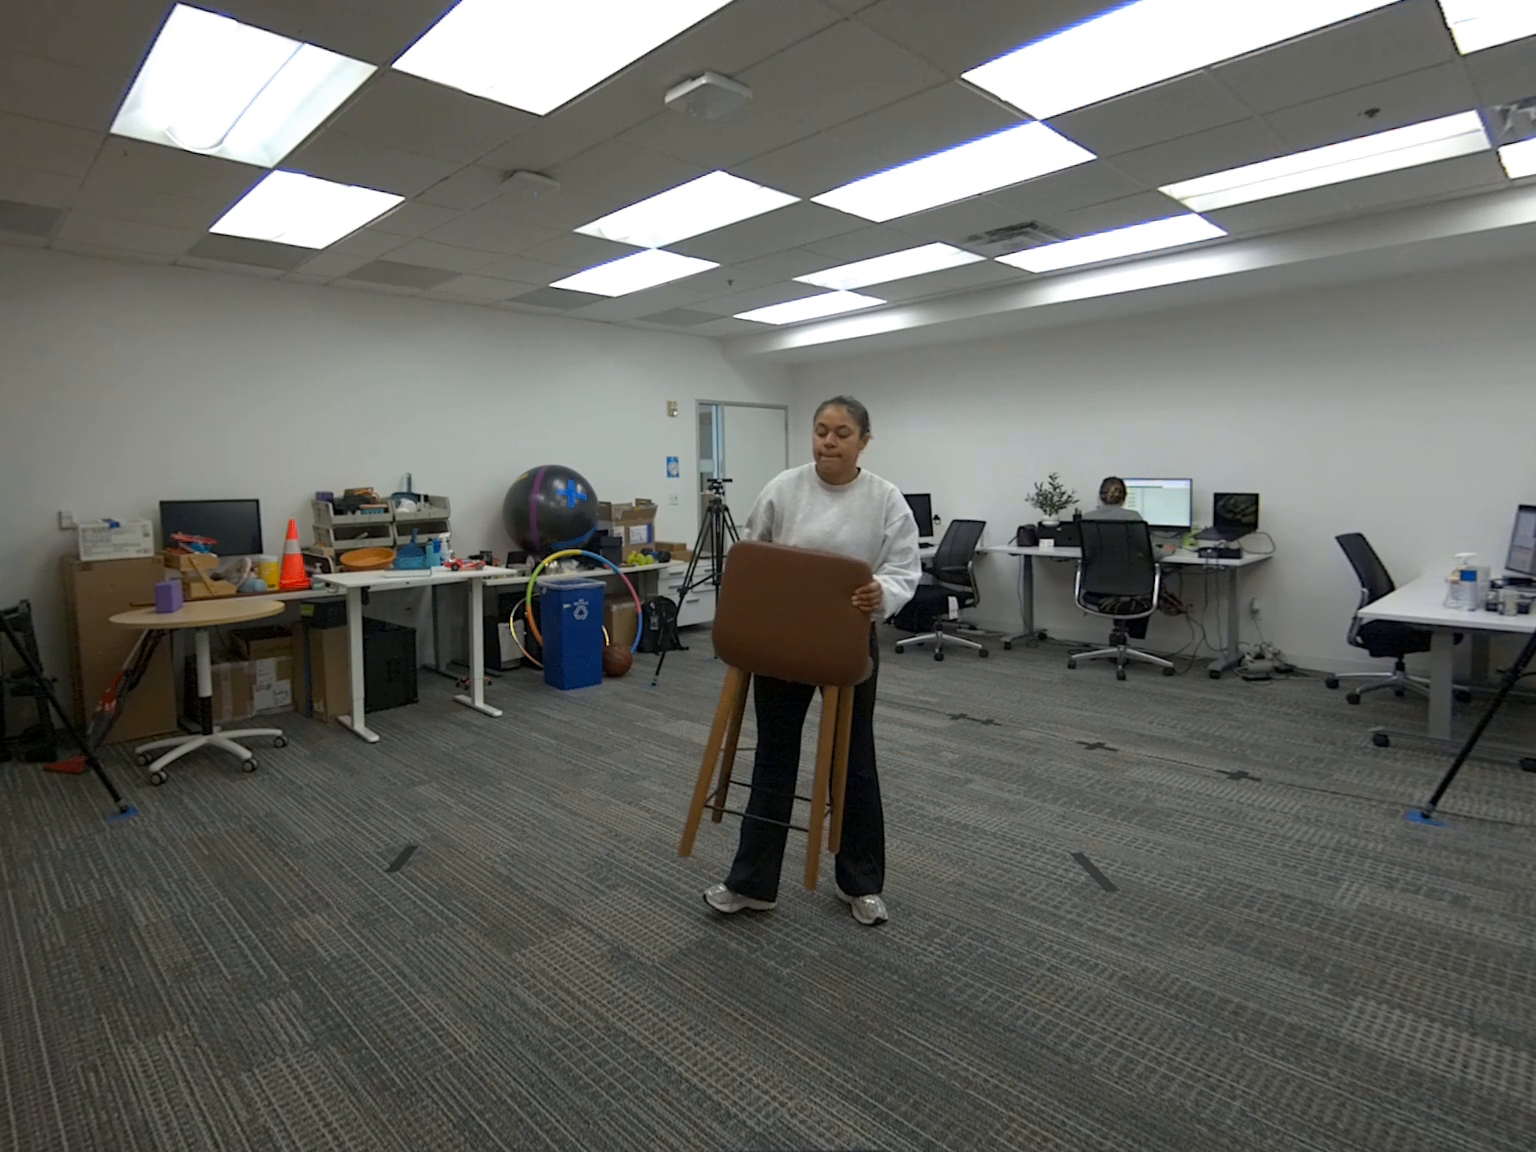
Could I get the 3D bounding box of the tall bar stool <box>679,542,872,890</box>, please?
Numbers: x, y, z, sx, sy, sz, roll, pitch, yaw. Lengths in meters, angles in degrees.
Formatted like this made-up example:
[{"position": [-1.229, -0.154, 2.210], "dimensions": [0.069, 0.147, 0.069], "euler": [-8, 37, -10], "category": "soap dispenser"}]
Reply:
[{"position": [0.053, 0.387, 2.487], "dimensions": [0.463, 0.891, 0.460], "euler": [9, -2, 12], "category": "tall bar stool"}]
